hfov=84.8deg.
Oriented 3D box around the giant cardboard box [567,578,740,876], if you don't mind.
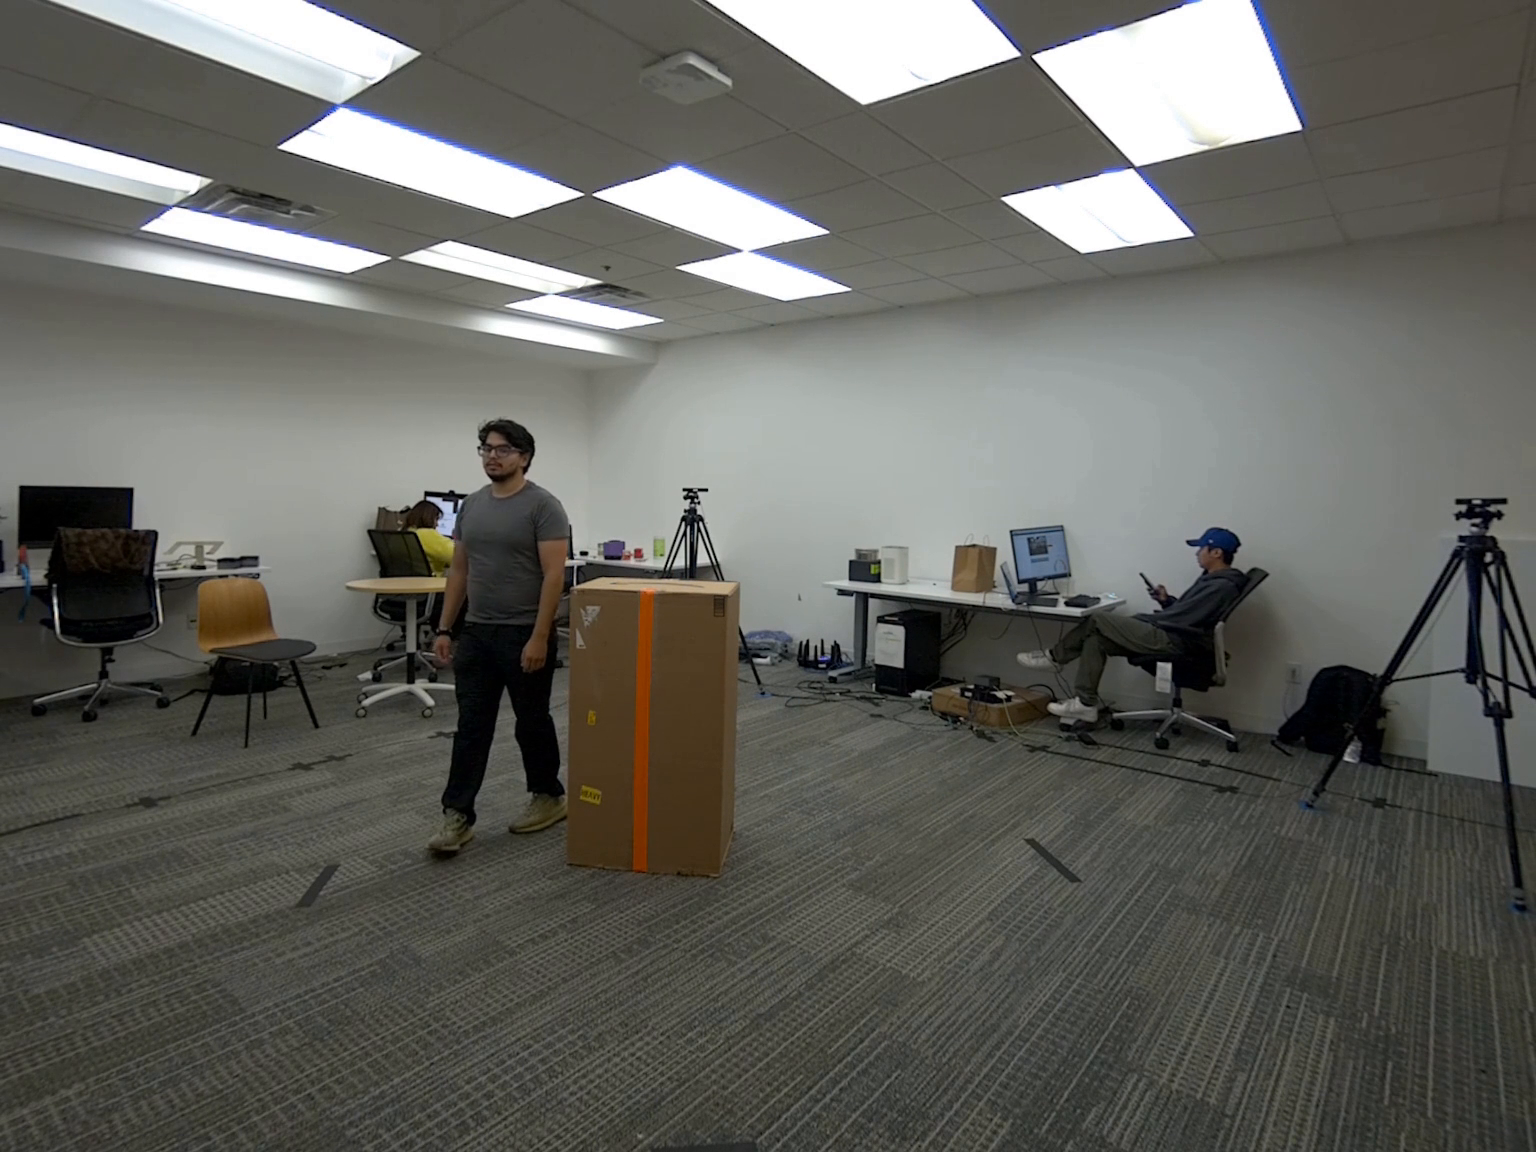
[{"bbox_3d":[-0.435,0.539,3.256,0.583,1.023,0.424,2,3,7],"label":"giant cardboard box"}]
